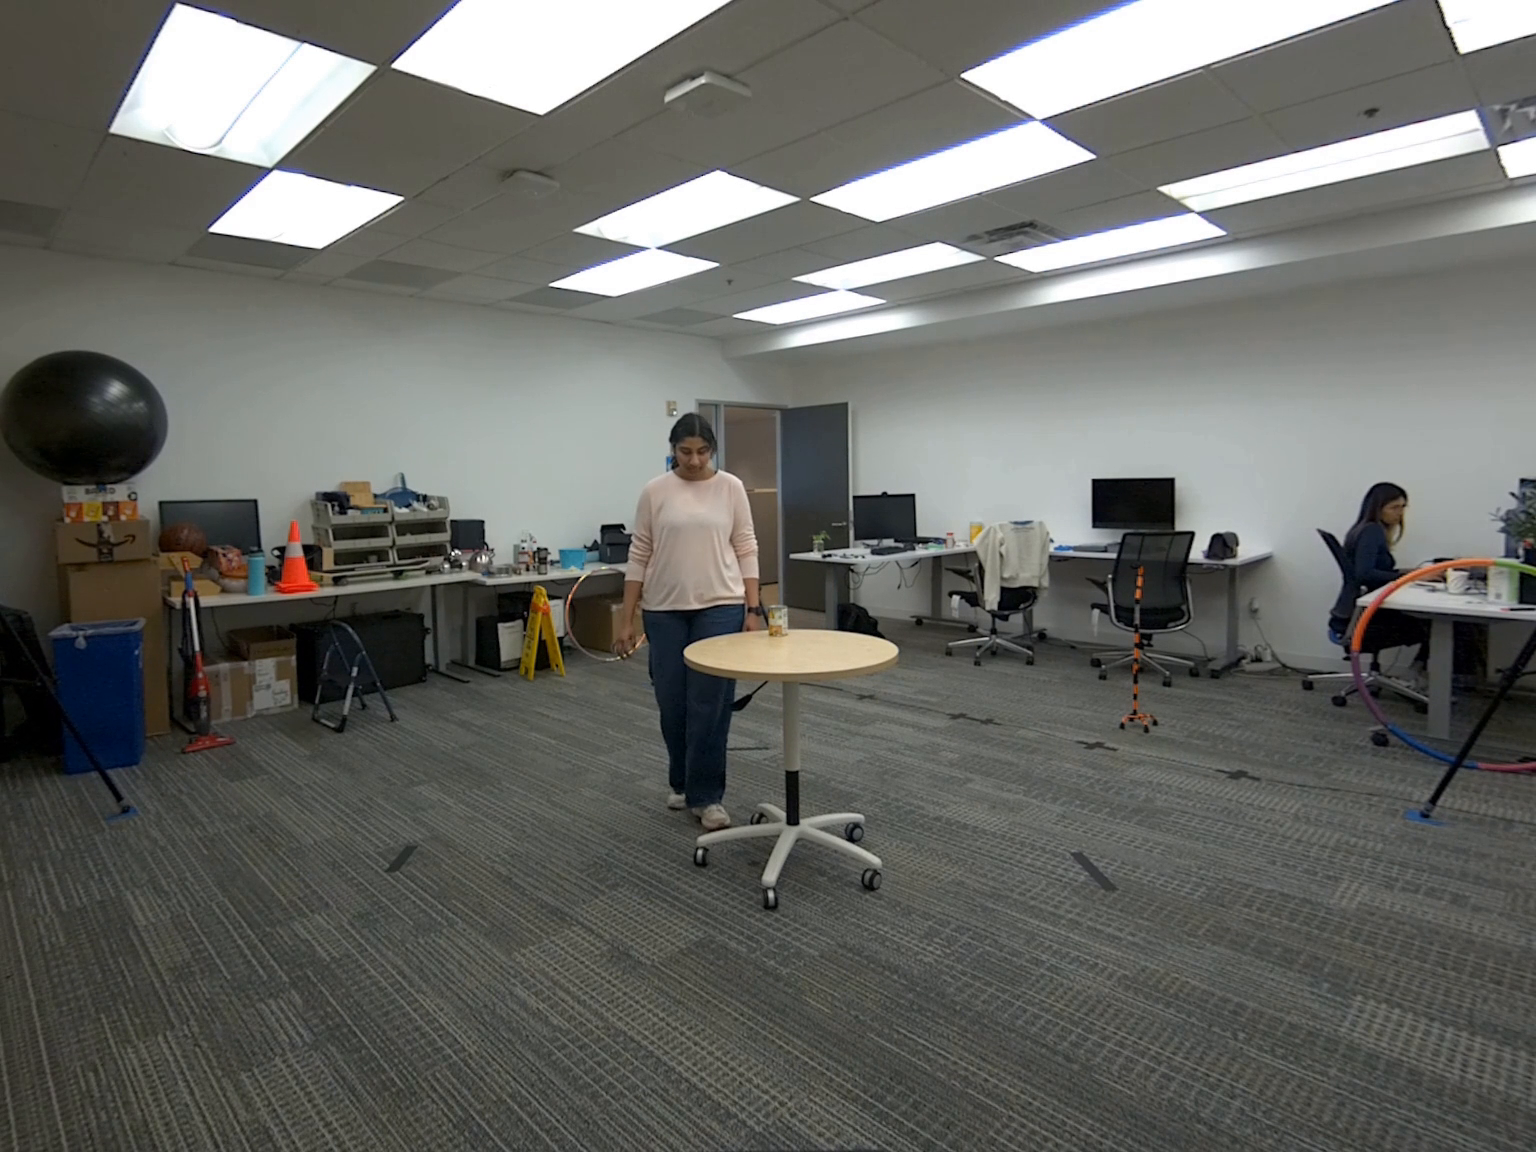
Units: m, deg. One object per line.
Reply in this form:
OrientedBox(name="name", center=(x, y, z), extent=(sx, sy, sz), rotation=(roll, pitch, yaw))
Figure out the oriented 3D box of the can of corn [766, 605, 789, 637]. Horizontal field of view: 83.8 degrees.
OrientedBox(name="can of corn", center=(0.046, 0.176, 3.334), extent=(0.074, 0.110, 0.074), rotation=(-2, 5, -2))
